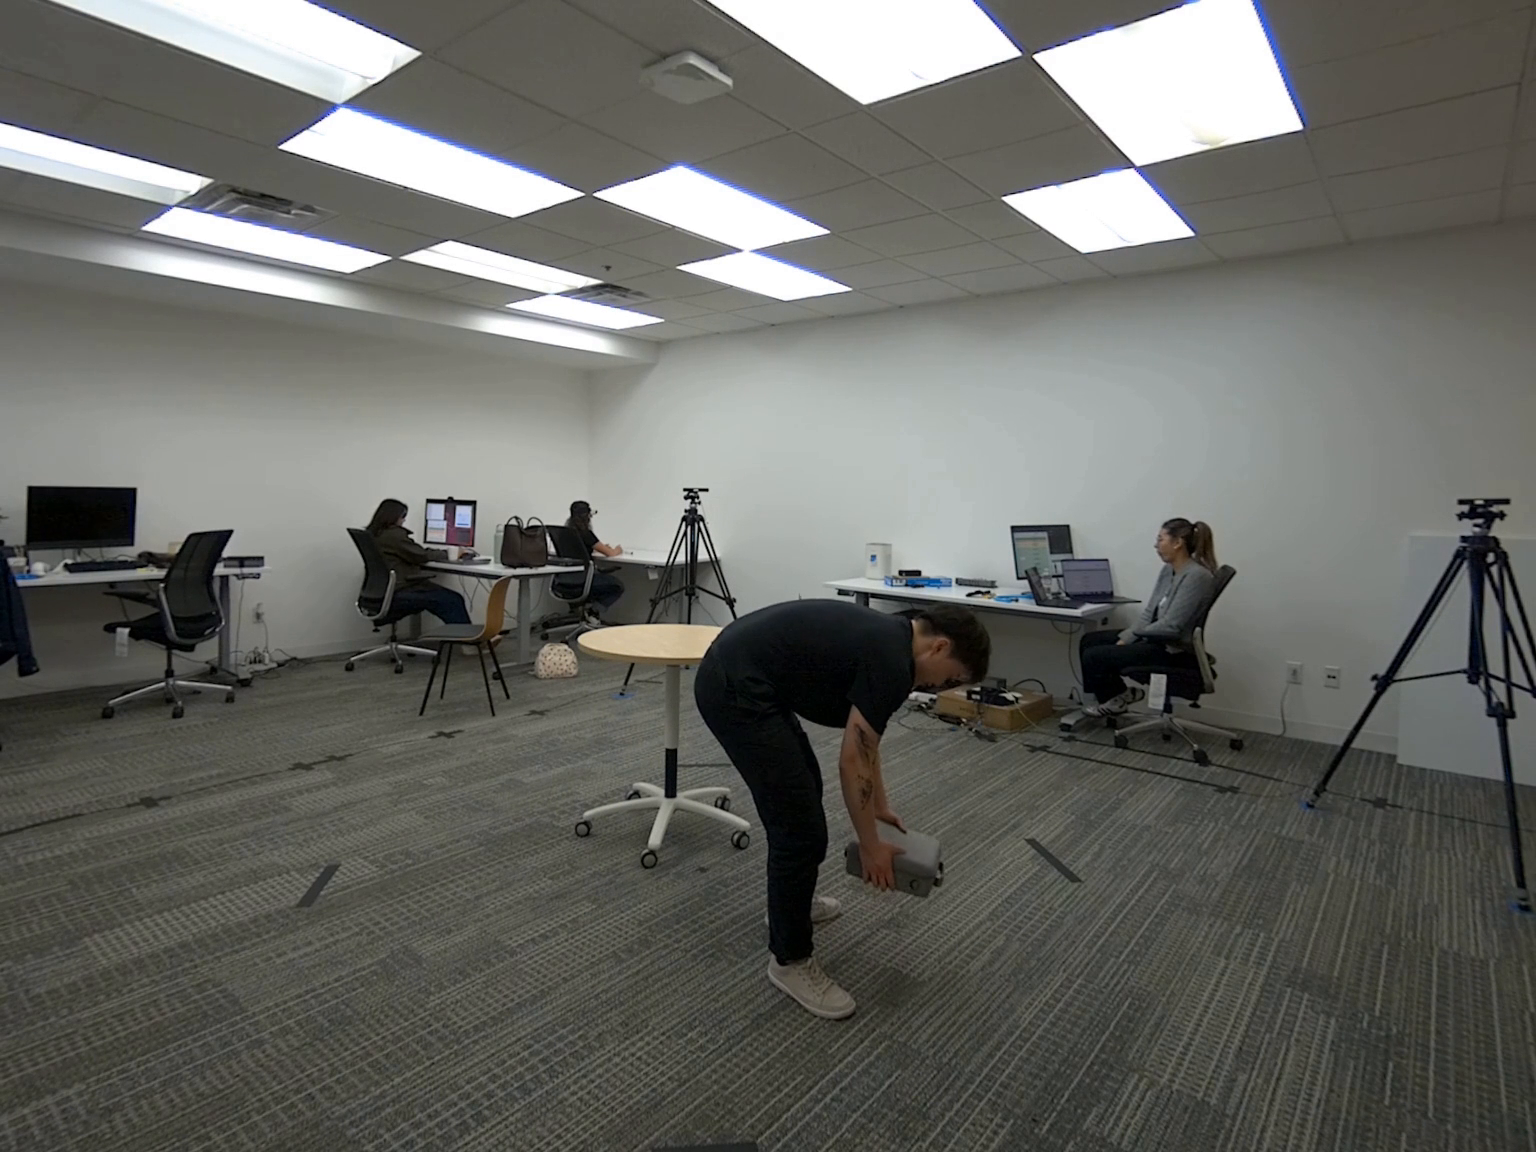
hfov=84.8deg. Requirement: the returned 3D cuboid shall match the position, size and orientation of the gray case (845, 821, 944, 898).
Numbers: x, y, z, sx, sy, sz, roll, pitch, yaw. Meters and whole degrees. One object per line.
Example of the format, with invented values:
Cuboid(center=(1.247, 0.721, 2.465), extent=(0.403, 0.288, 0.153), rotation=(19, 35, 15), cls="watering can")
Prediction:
Cuboid(center=(0.377, 0.829, 2.520), extent=(0.267, 0.104, 0.251), rotation=(12, 4, 20), cls="gray case")
